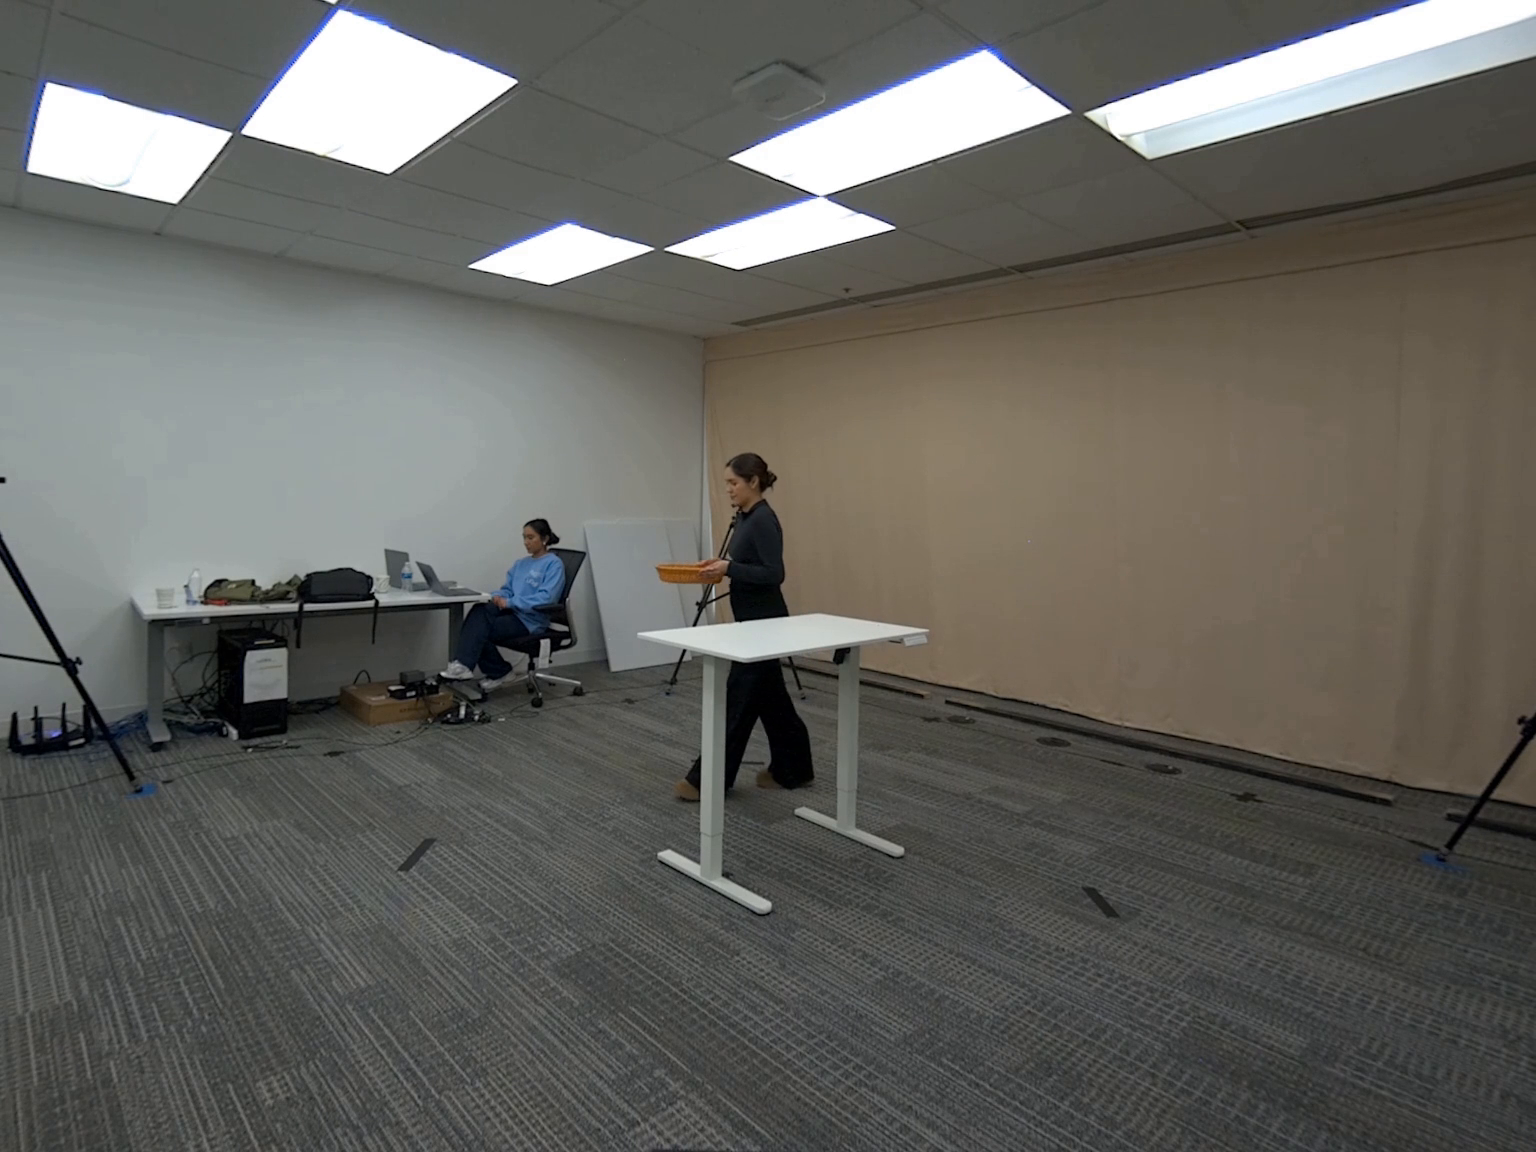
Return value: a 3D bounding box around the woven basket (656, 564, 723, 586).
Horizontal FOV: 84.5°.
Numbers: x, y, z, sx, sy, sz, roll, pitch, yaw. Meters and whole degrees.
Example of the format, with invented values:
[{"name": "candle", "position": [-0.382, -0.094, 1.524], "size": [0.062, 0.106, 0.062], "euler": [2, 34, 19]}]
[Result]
[{"name": "woven basket", "position": [-0.357, -0.015, 3.911], "size": [0.346, 0.073, 0.256], "euler": [0, 6, -16]}]
